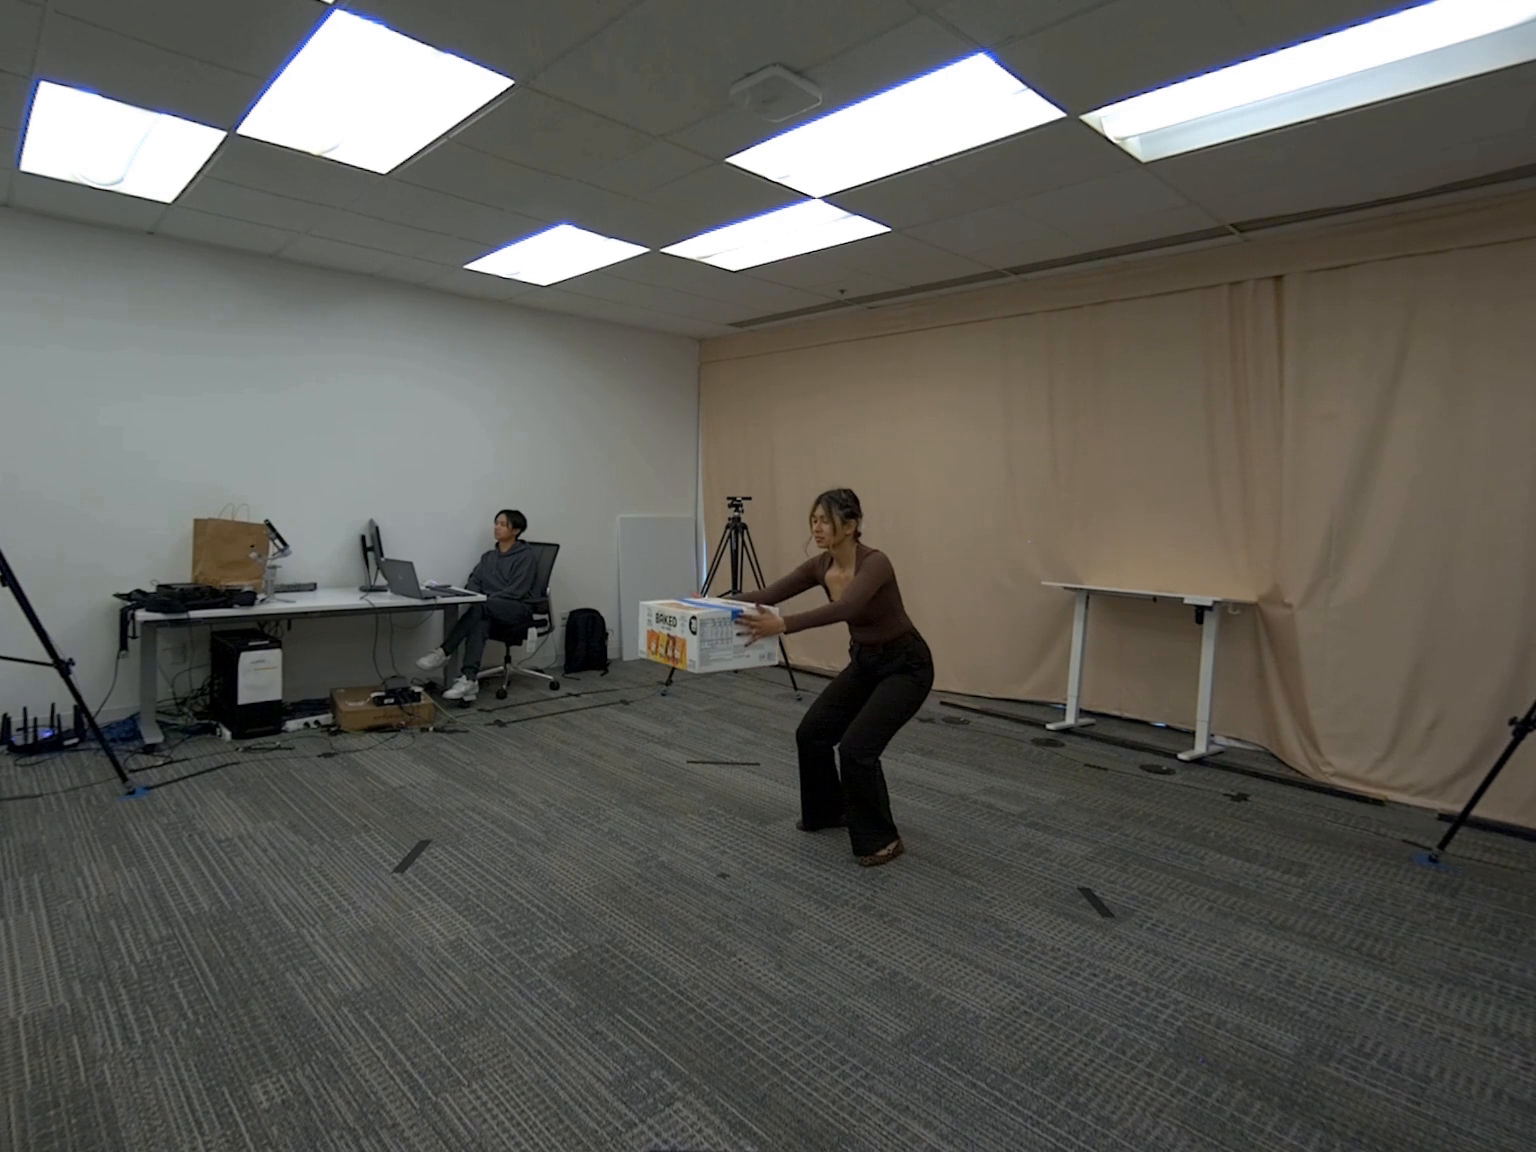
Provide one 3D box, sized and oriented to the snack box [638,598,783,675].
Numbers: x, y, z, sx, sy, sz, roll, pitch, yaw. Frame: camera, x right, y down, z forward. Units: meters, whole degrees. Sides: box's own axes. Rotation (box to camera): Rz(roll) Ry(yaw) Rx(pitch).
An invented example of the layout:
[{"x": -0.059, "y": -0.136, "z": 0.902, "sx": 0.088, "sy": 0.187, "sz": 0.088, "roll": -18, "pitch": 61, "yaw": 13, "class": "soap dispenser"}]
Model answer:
[{"x": -0.222, "y": 0.203, "z": 3.019, "sx": 0.333, "sy": 0.205, "sz": 0.415, "roll": -2, "pitch": 5, "yaw": -36, "class": "snack box"}]
